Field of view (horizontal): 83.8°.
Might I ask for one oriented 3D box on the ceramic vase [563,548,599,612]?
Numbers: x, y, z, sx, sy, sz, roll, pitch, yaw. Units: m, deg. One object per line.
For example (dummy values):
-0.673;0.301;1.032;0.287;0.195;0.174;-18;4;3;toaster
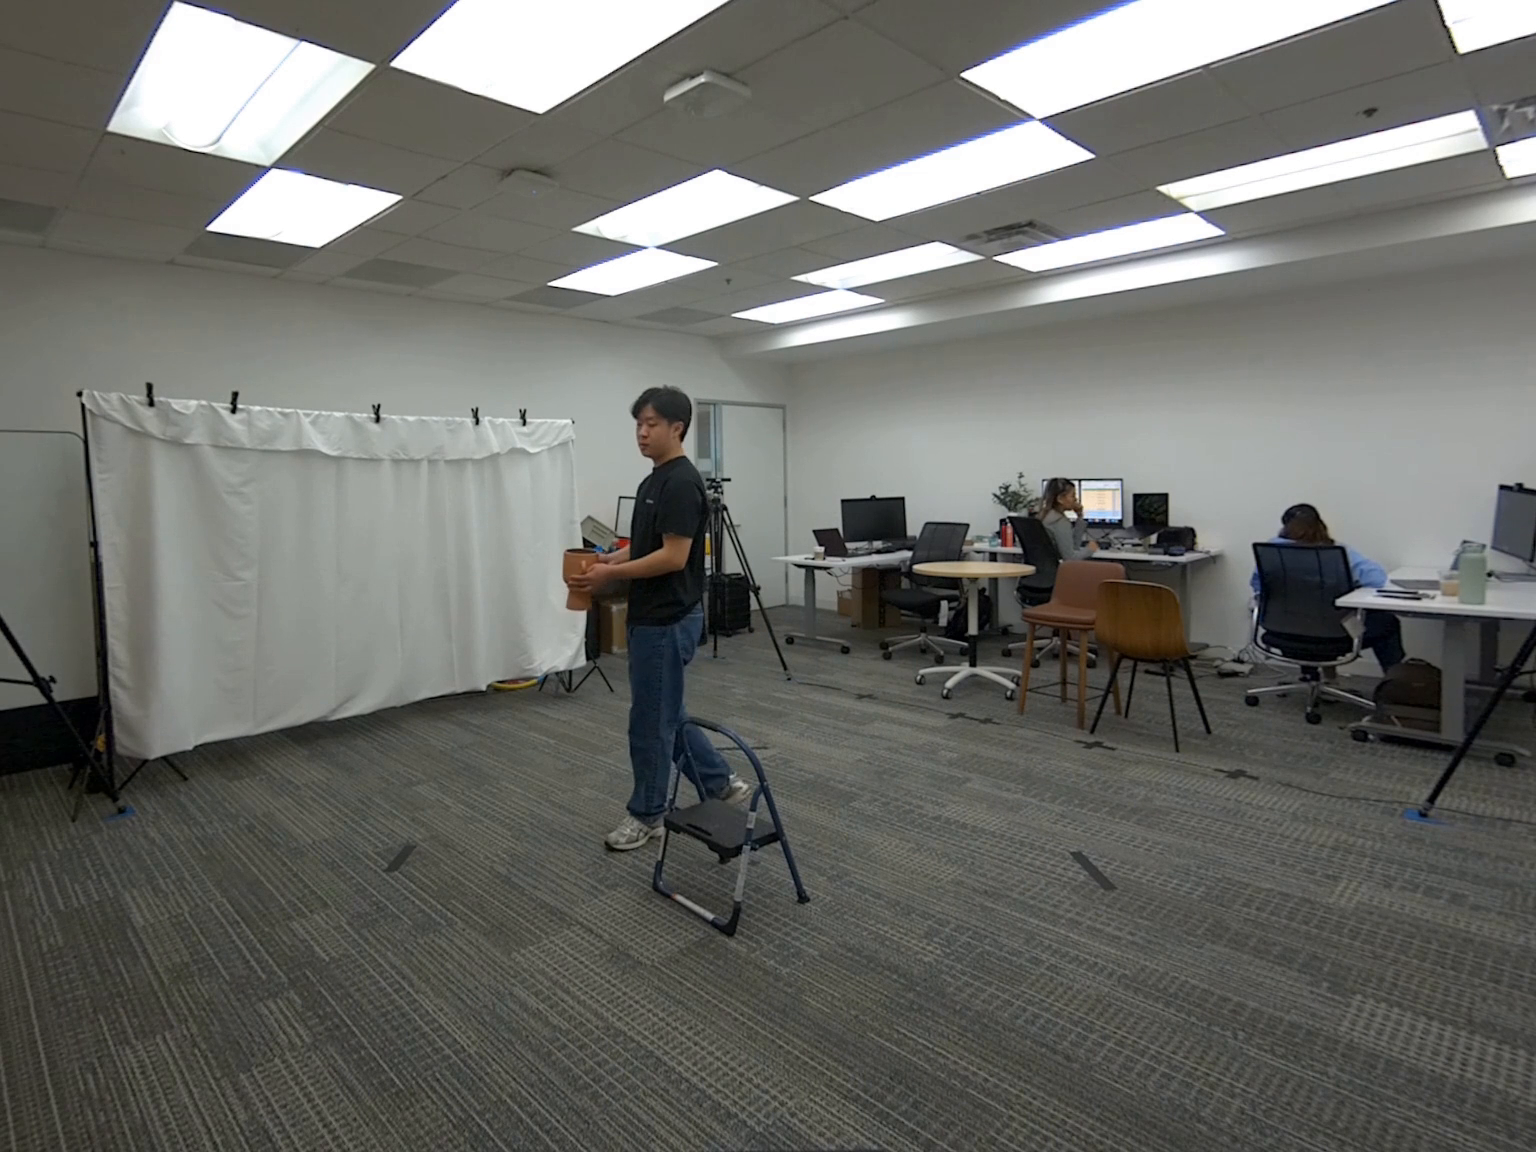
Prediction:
-0.702;0.014;3.240;0.137;0.218;0.156;8;10;20;ceramic vase
